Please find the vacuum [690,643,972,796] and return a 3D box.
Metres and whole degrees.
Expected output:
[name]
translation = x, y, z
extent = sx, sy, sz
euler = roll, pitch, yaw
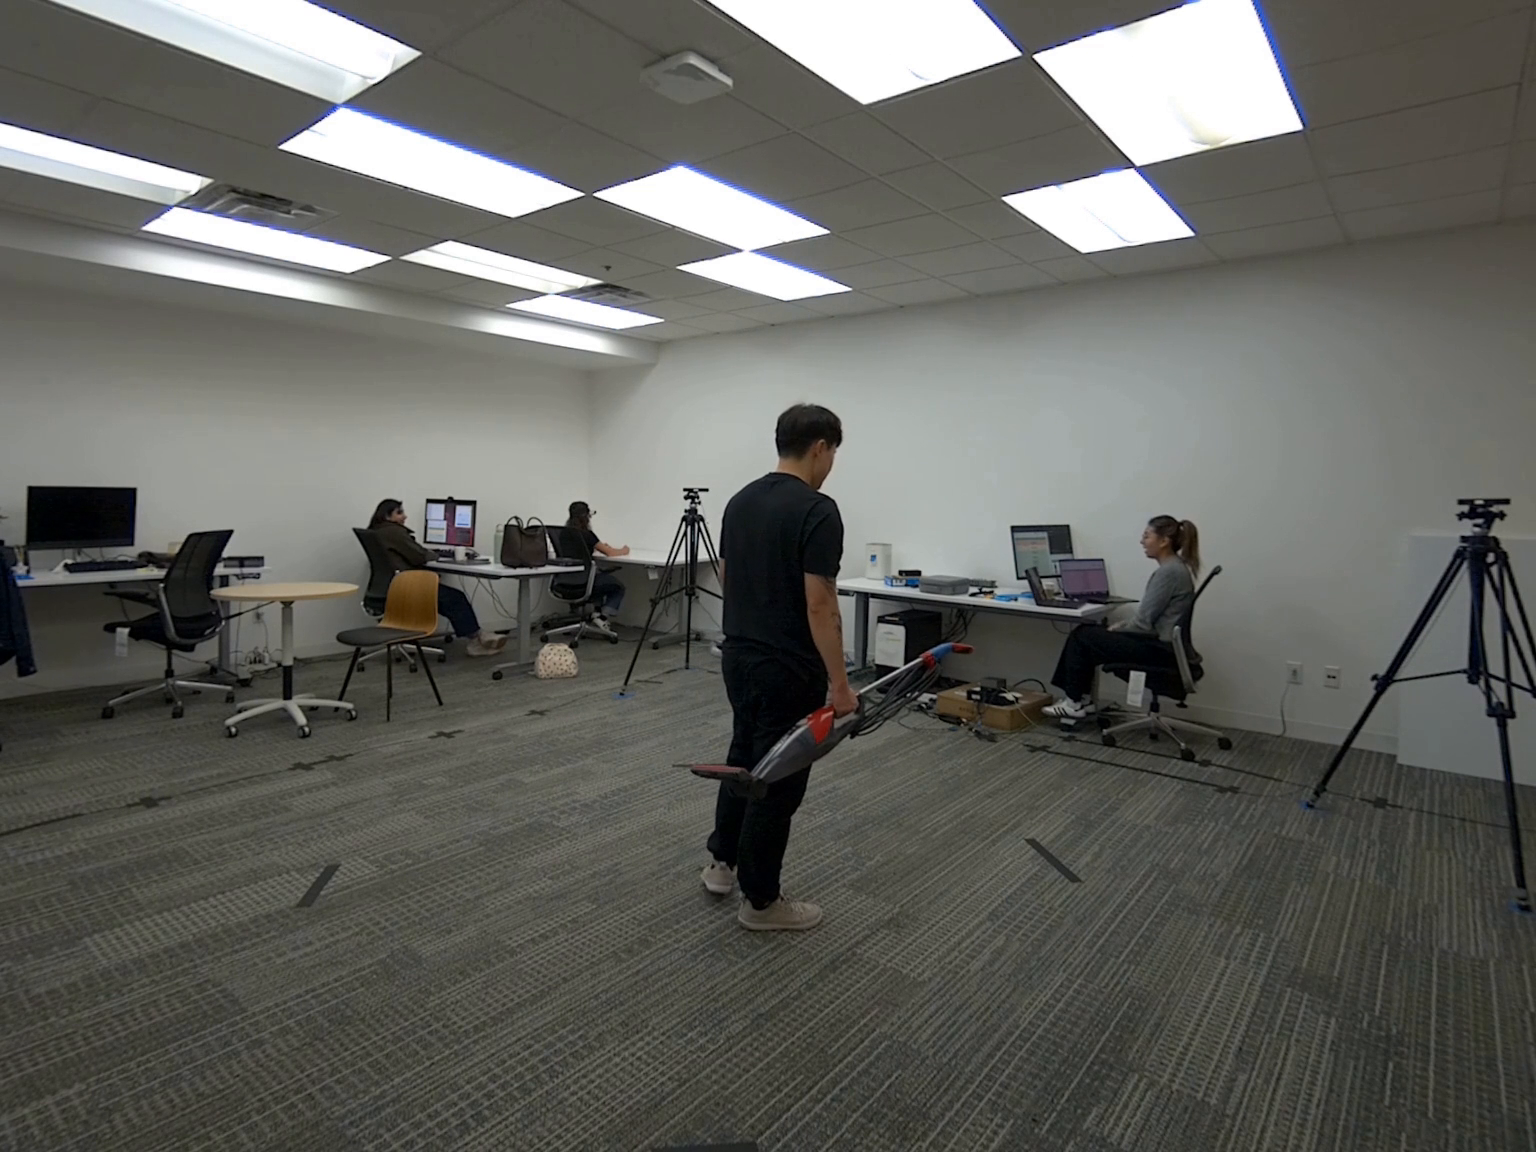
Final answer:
[vacuum]
translation = 0.289, 0.406, 2.603
extent = 1.030, 0.145, 0.256
euler = -21, -3, -33
